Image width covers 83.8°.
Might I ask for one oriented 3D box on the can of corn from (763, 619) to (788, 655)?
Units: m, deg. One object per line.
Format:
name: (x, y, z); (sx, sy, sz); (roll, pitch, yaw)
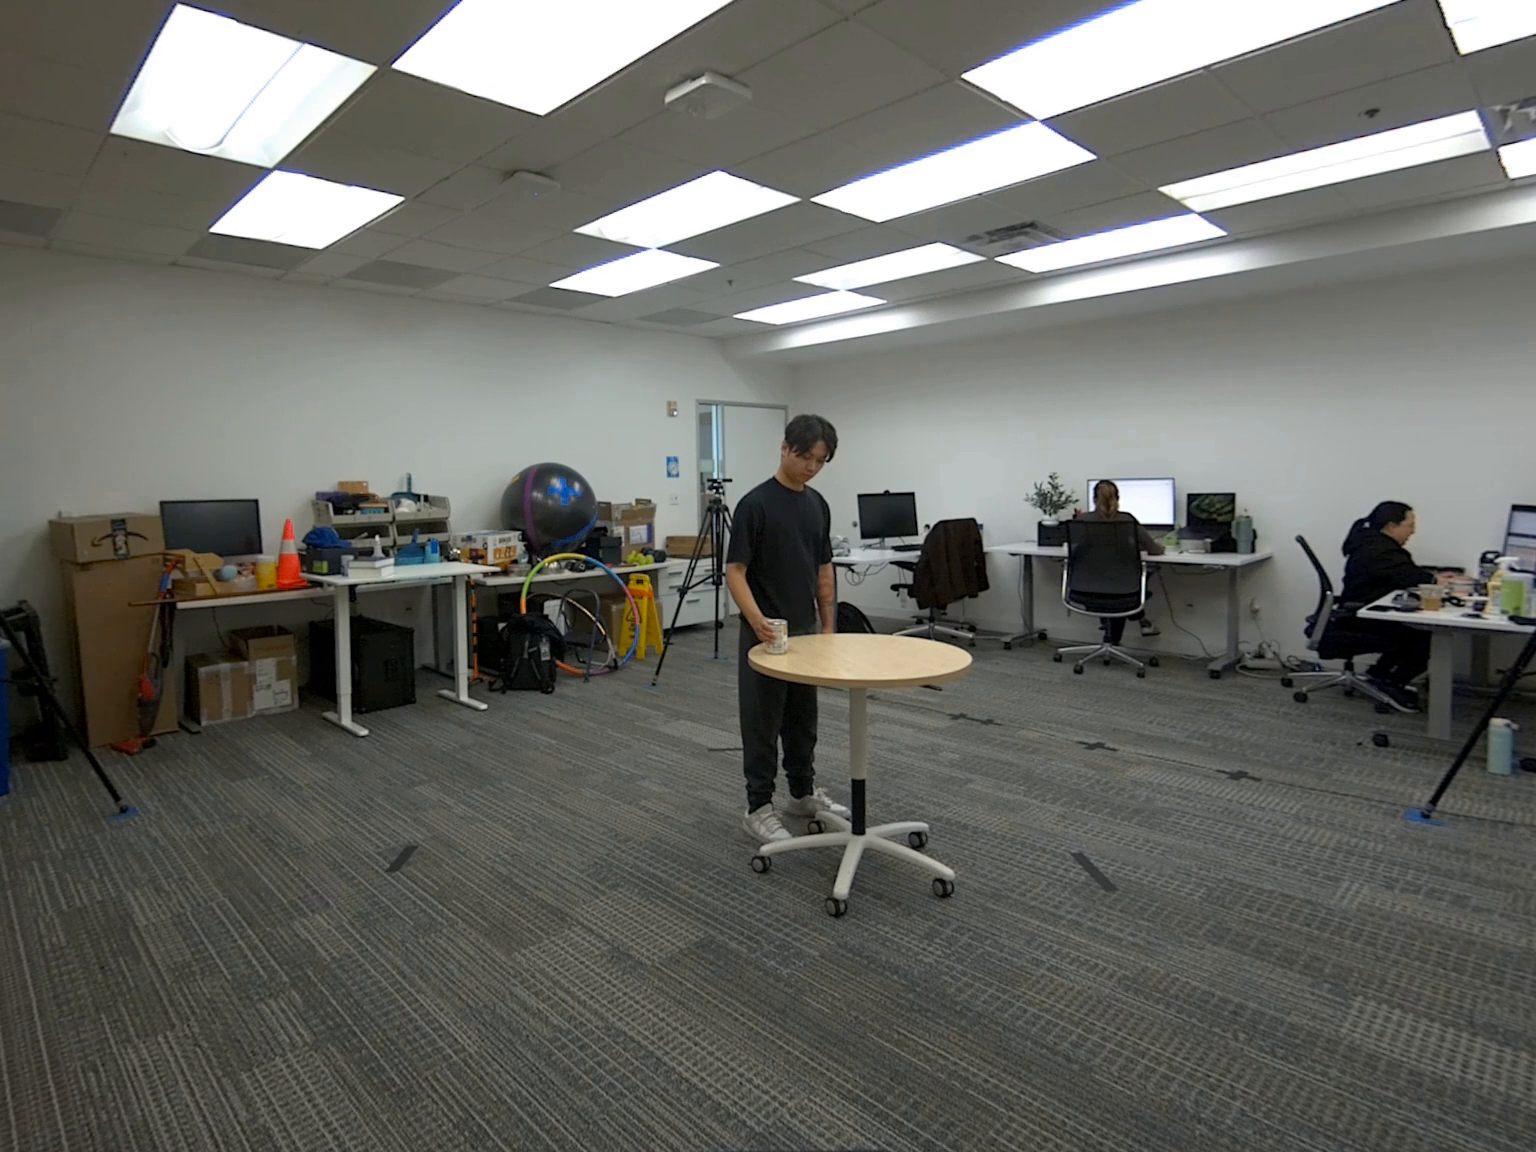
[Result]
can of corn: (0.027, 0.219, 3.006); (0.074, 0.111, 0.074); (0, 2, -2)
